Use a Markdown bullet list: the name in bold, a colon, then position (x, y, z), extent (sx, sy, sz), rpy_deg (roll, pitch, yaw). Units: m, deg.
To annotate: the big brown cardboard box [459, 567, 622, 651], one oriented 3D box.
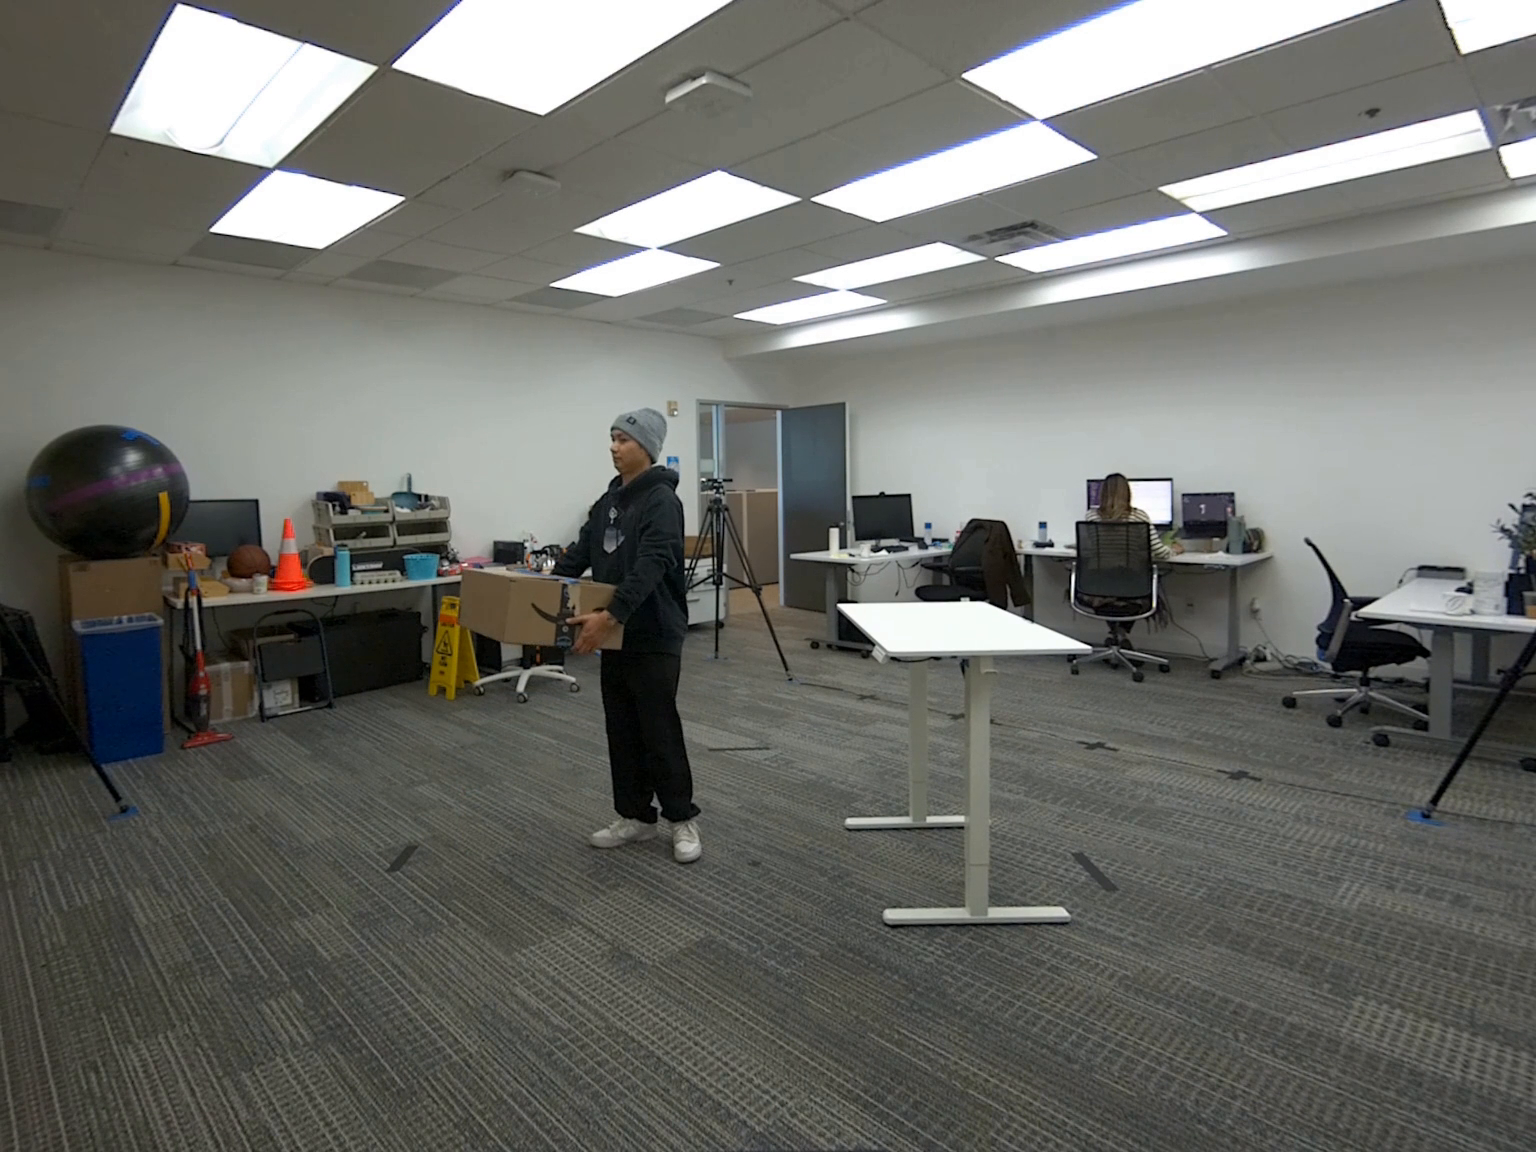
- **big brown cardboard box**: position (-0.826, 0.111, 3.050), extent (0.405, 0.233, 0.606), rpy_deg (6, 1, -34)
